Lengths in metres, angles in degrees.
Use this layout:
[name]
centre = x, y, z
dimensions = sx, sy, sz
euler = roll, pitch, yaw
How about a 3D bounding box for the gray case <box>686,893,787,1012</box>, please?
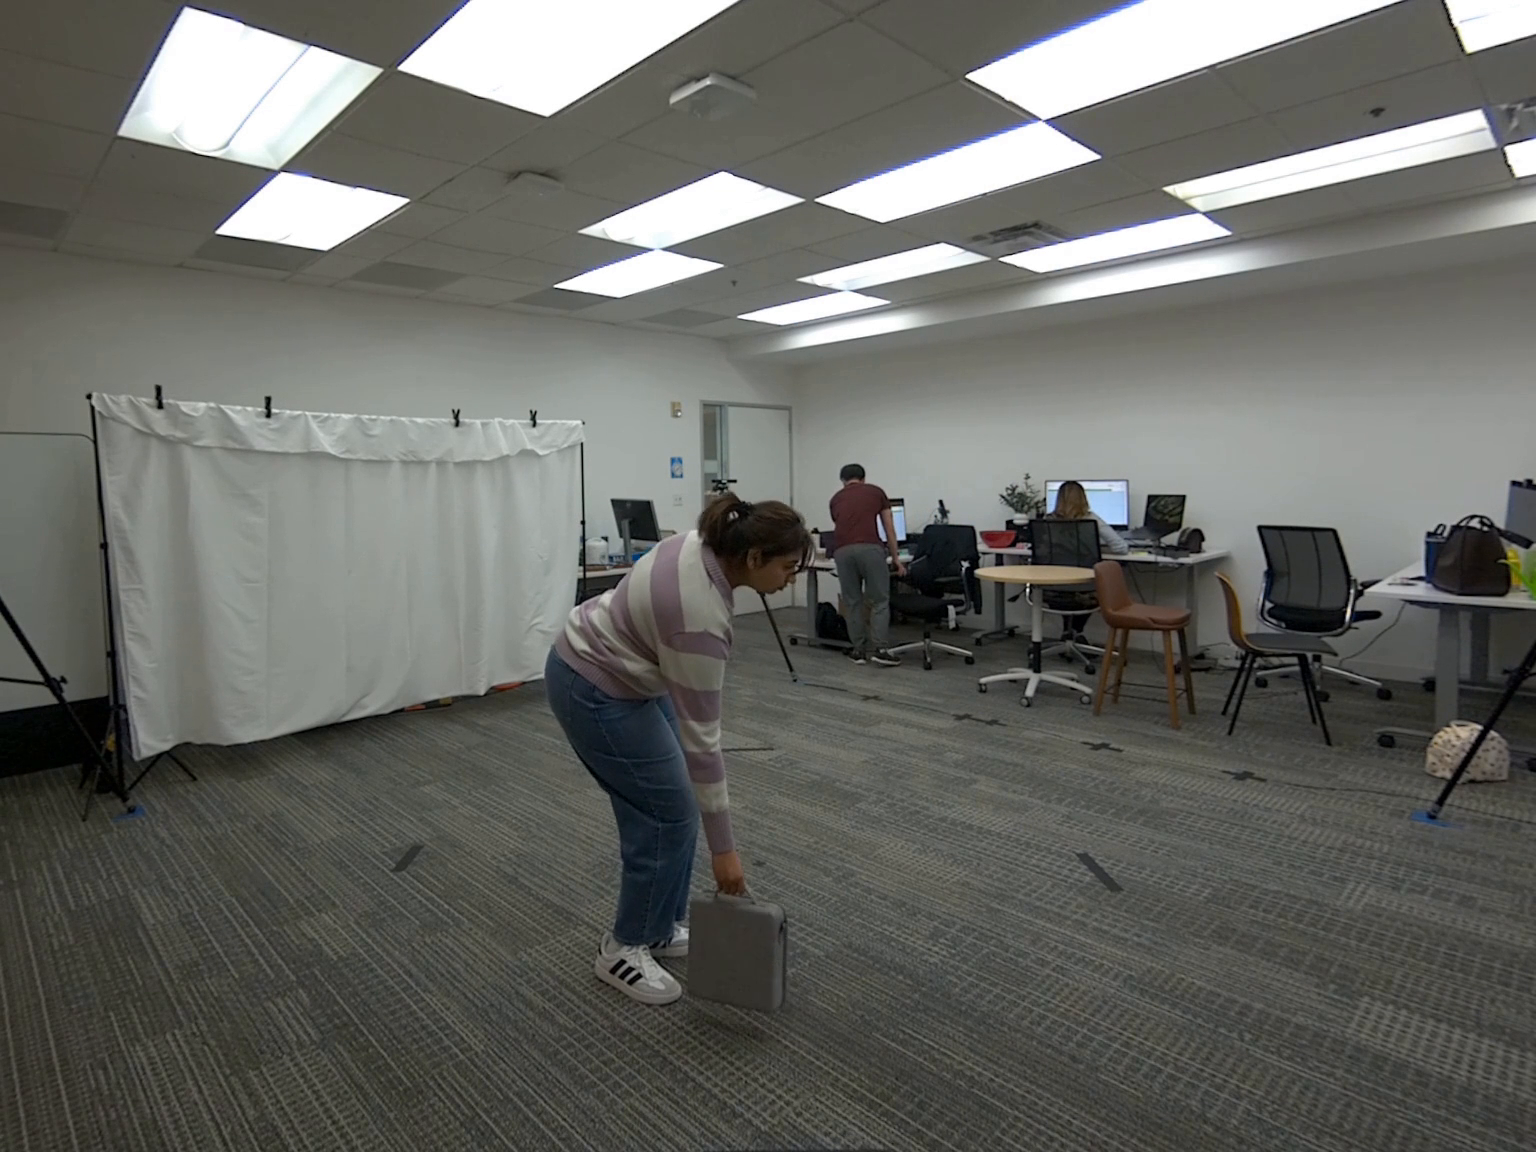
[gray case]
centre = -0.073, 0.950, 2.205
dimensions = 0.262, 0.262, 0.102
euler = -2, -5, 24
